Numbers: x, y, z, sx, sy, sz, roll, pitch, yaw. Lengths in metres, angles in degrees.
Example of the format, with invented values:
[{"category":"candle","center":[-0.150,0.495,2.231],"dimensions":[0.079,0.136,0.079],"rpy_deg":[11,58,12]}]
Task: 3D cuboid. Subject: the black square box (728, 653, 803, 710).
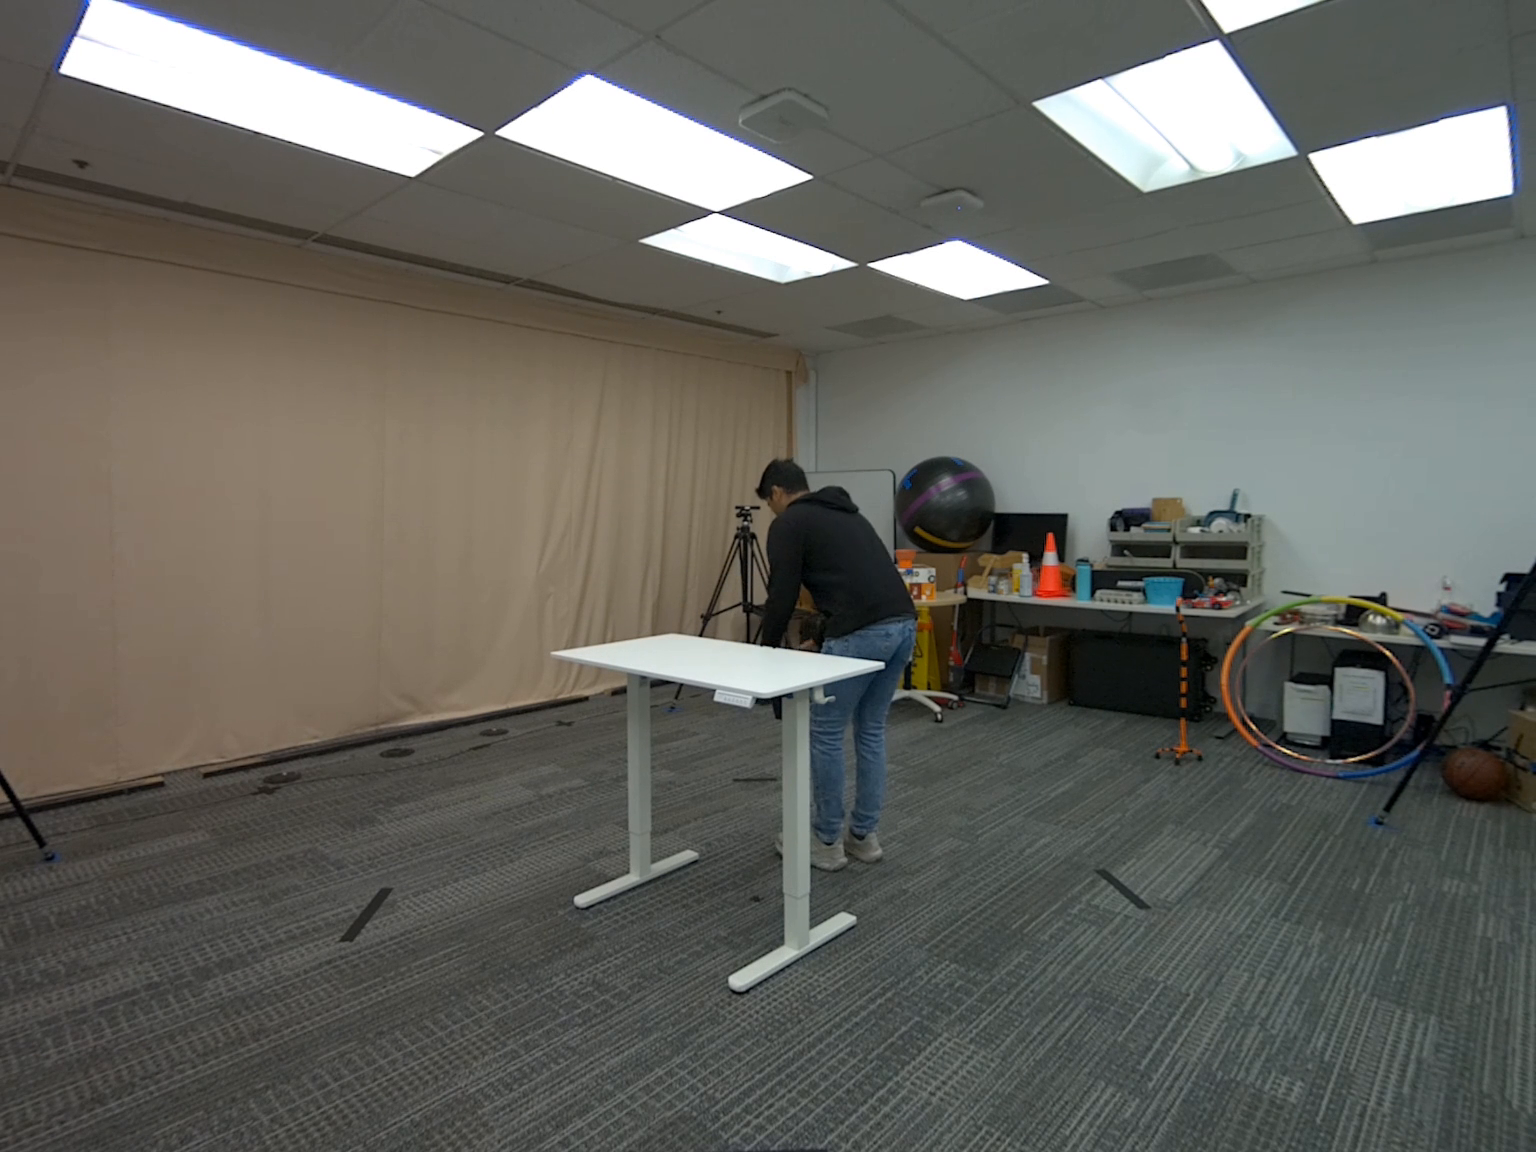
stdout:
[{"category":"black square box","center":[-0.013,0.444,3.624],"dimensions":[0.221,0.155,0.224],"rpy_deg":[-7,12,-42]}]
